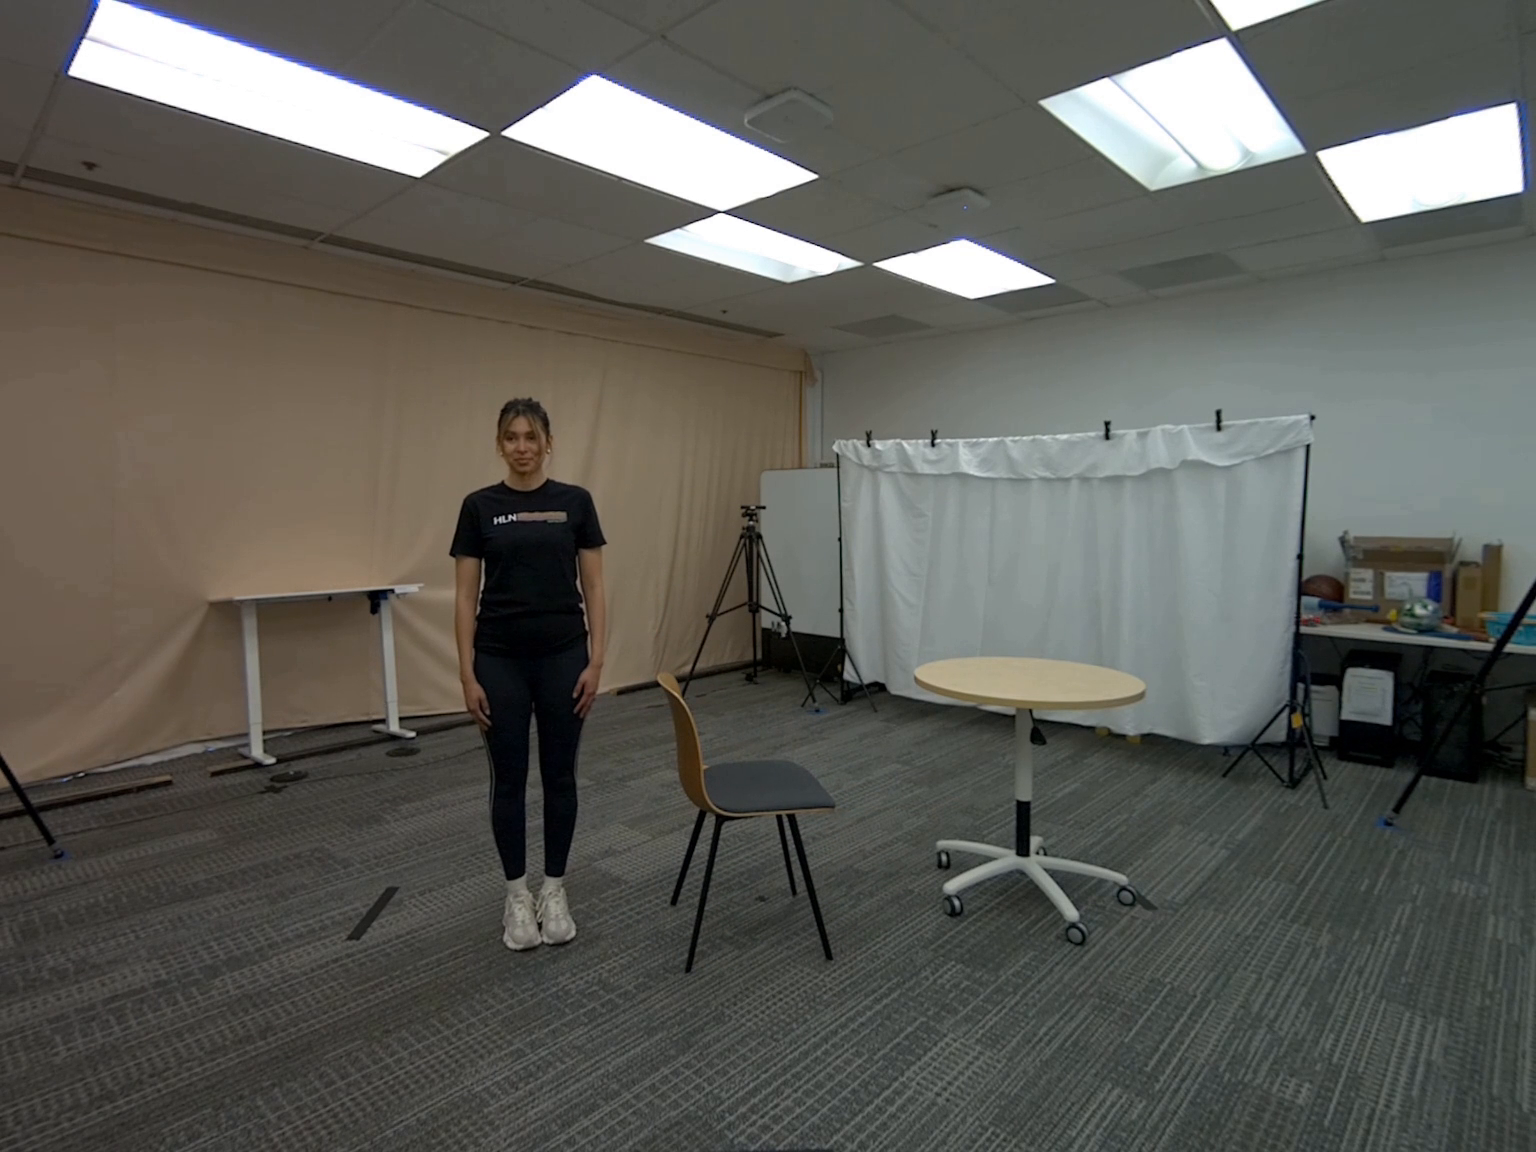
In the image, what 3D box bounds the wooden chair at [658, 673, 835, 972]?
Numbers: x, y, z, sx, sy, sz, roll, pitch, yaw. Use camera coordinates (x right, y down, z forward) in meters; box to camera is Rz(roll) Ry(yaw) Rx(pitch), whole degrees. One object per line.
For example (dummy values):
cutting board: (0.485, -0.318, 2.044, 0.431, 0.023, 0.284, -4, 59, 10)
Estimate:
wooden chair: (-0.060, 0.740, 2.737, 0.518, 0.876, 0.484, -4, 3, -11)
